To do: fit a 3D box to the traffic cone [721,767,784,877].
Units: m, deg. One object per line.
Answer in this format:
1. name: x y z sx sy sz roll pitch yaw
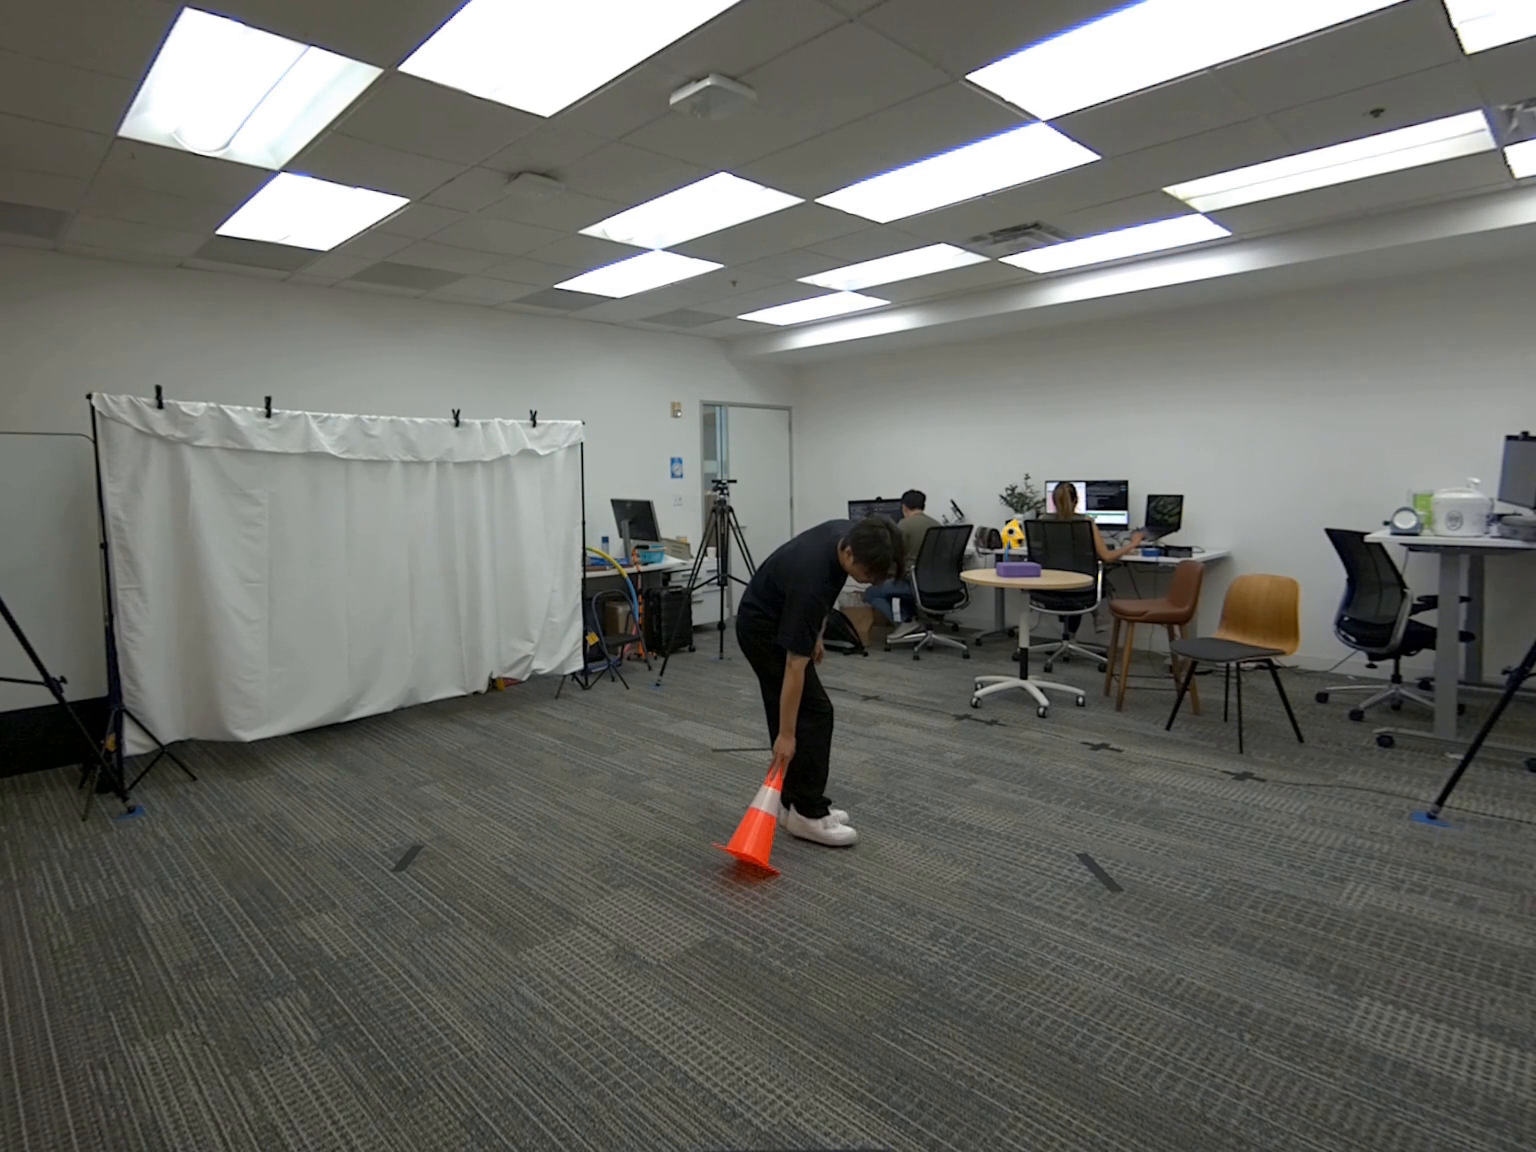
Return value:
1. traffic cone: -0.015 0.841 3.096 0.209 0.388 0.197 4 -27 35
